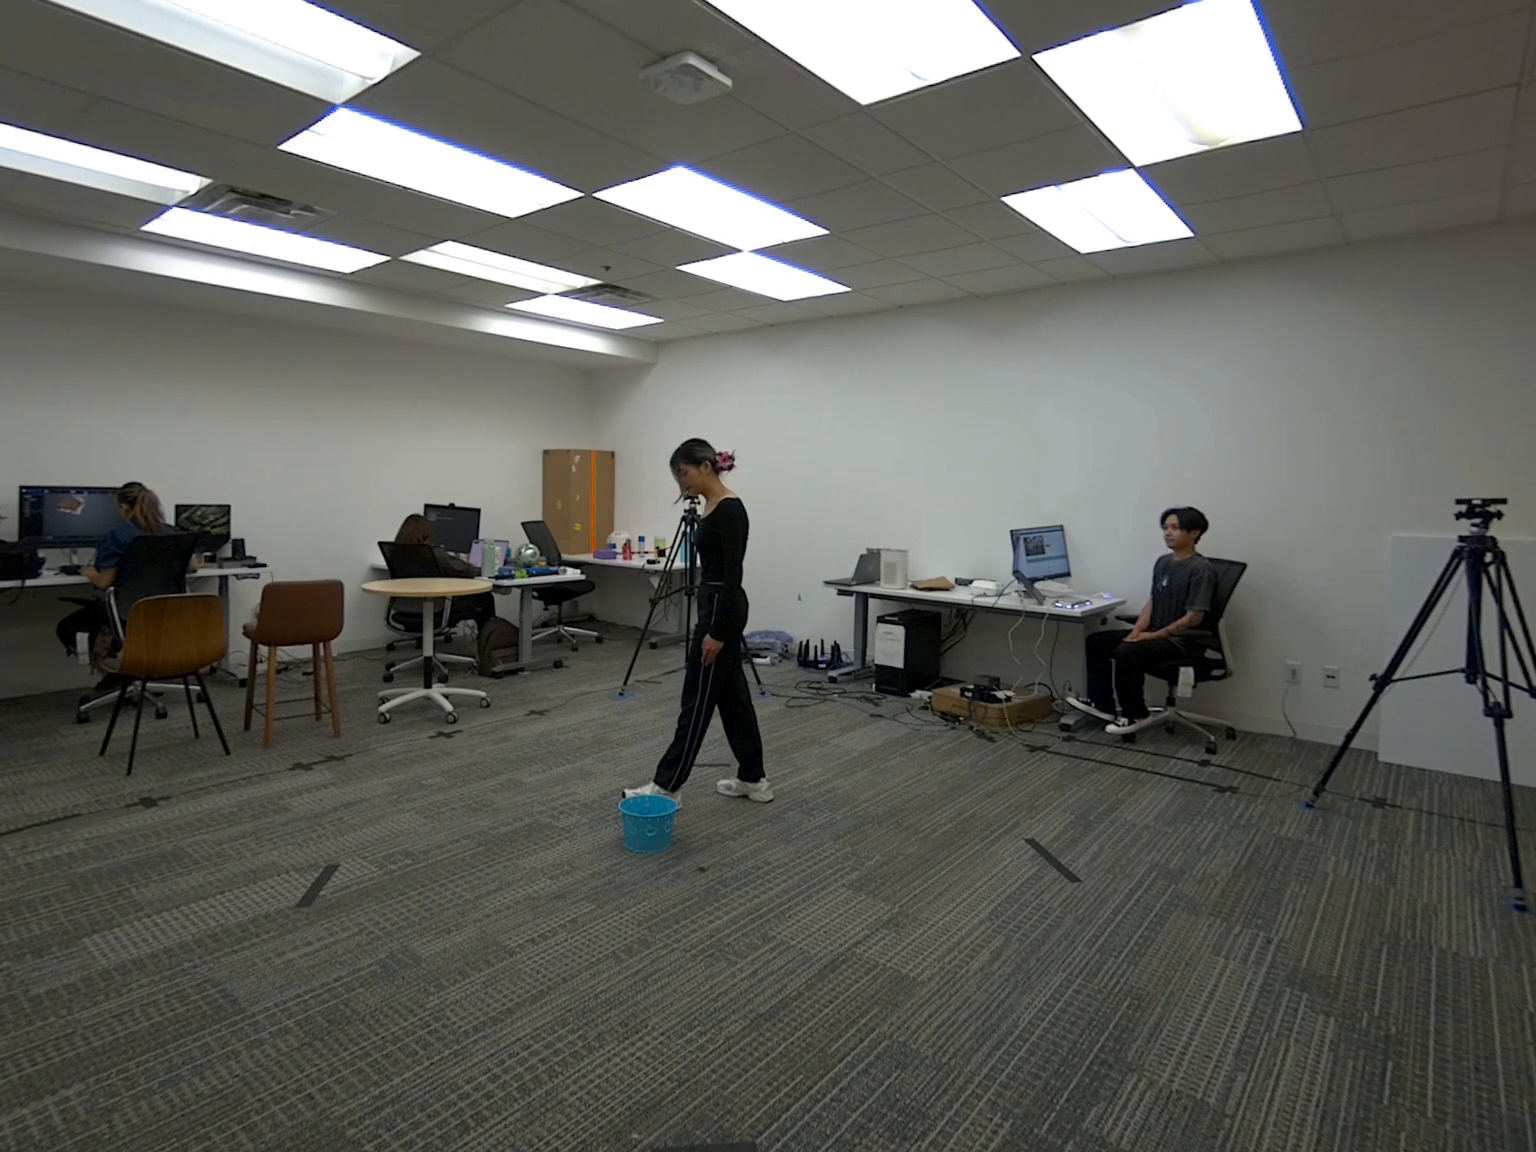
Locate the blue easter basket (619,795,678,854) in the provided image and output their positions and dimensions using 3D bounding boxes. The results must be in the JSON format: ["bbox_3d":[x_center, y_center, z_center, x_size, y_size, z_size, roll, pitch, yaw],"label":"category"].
[{"bbox_3d":[-0.480,0.963,3.339,0.243,0.155,0.245,0,5,-2],"label":"blue easter basket"}]
